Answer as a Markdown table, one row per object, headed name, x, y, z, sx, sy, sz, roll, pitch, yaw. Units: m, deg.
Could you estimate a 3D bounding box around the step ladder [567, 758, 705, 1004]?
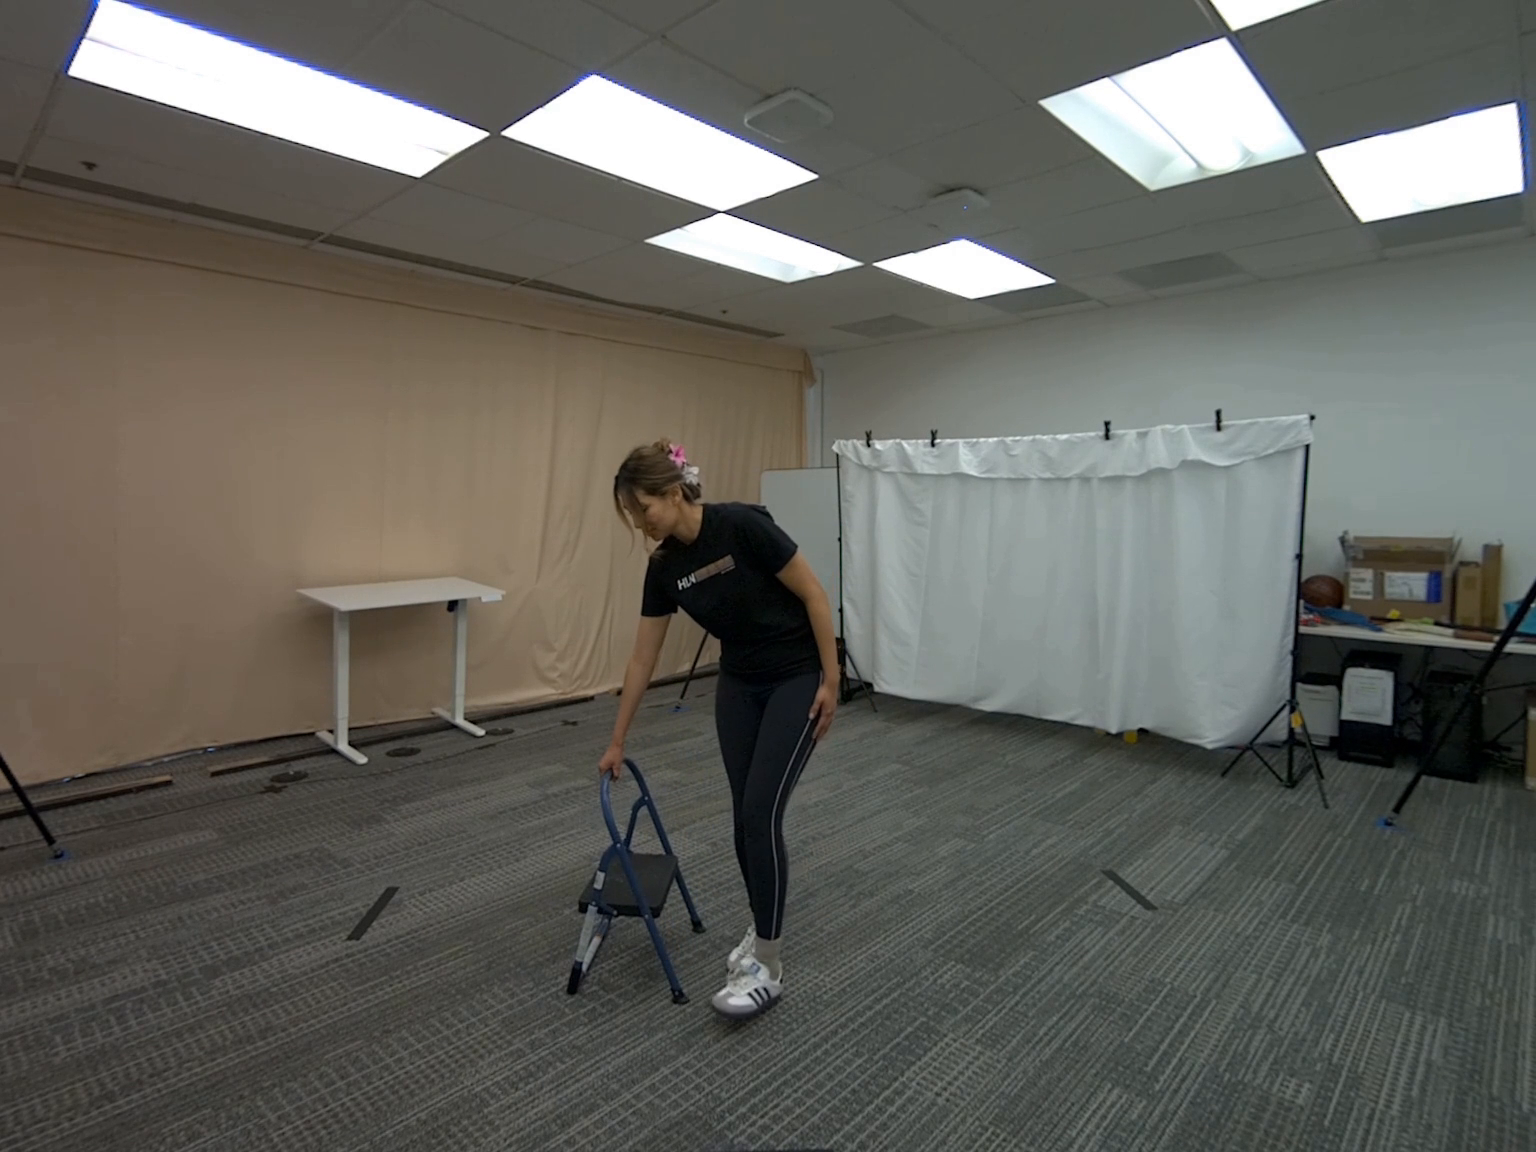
| name | x | y | z | sx | sy | sz | roll | pitch | yaw |
| --- | --- | --- | --- | --- | --- | --- | --- | --- | --- |
| step ladder | -0.393 | 0.882 | 2.567 | 0.351 | 0.605 | 0.429 | 1 | 4 | 4 |
